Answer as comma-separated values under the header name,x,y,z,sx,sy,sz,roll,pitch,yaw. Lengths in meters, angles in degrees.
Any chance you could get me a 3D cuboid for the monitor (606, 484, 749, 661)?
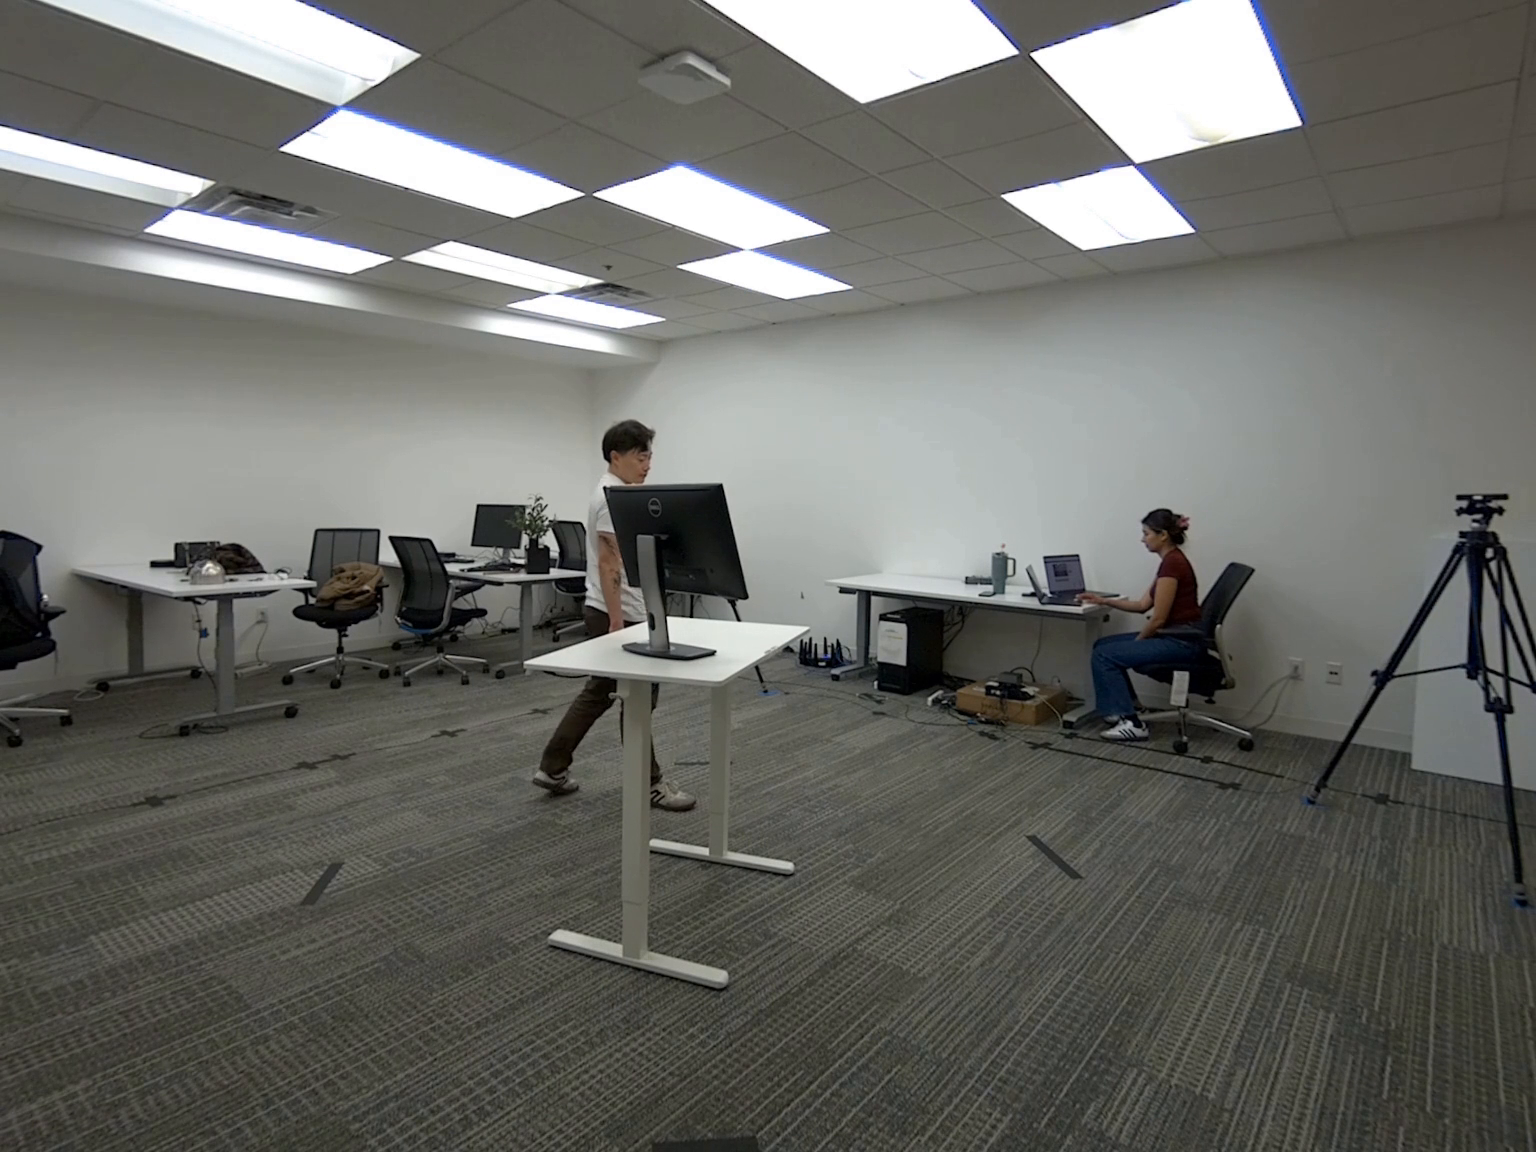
name,x,y,z,sx,sy,sz,roll,pitch,yaw
monitor,-0.324,-0.019,2.585,0.557,0.519,0.182,3,8,40
